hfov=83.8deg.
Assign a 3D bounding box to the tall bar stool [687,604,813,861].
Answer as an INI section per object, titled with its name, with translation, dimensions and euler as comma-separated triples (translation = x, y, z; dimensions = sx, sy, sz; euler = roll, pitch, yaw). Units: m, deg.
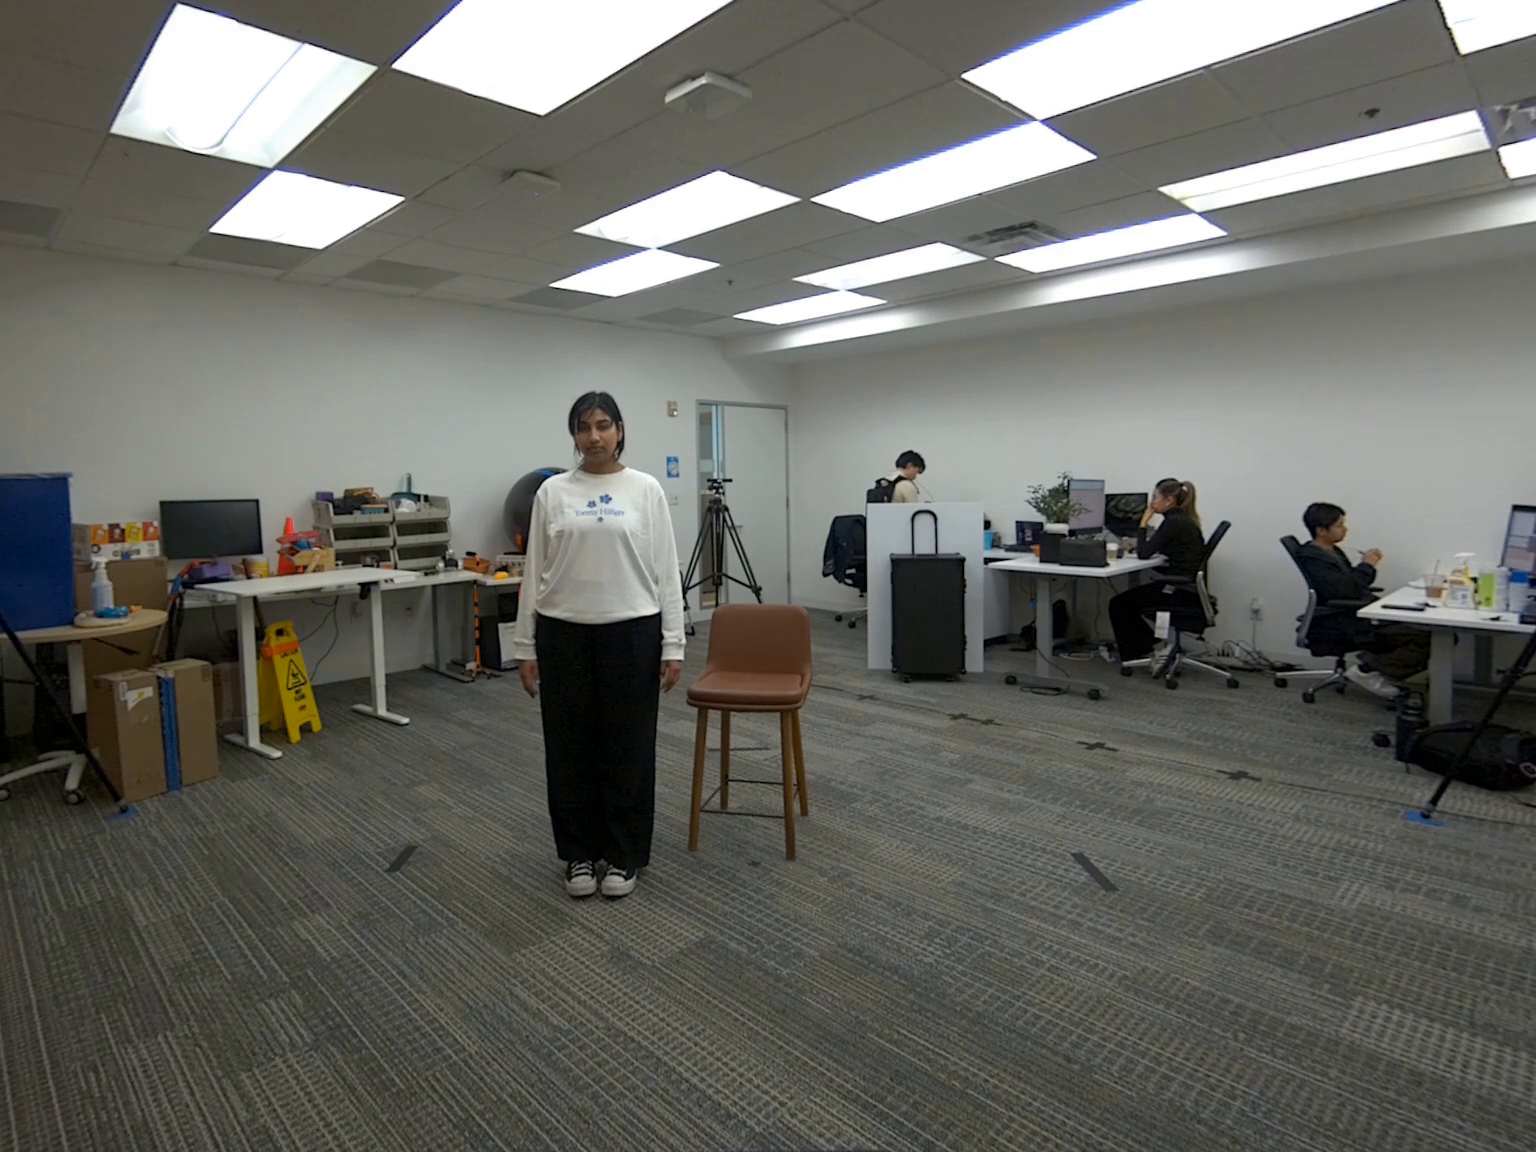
[tall bar stool]
translation = -0.063, 0.581, 3.374
dimensions = 0.463, 0.888, 0.462
euler = 0, 2, 14
